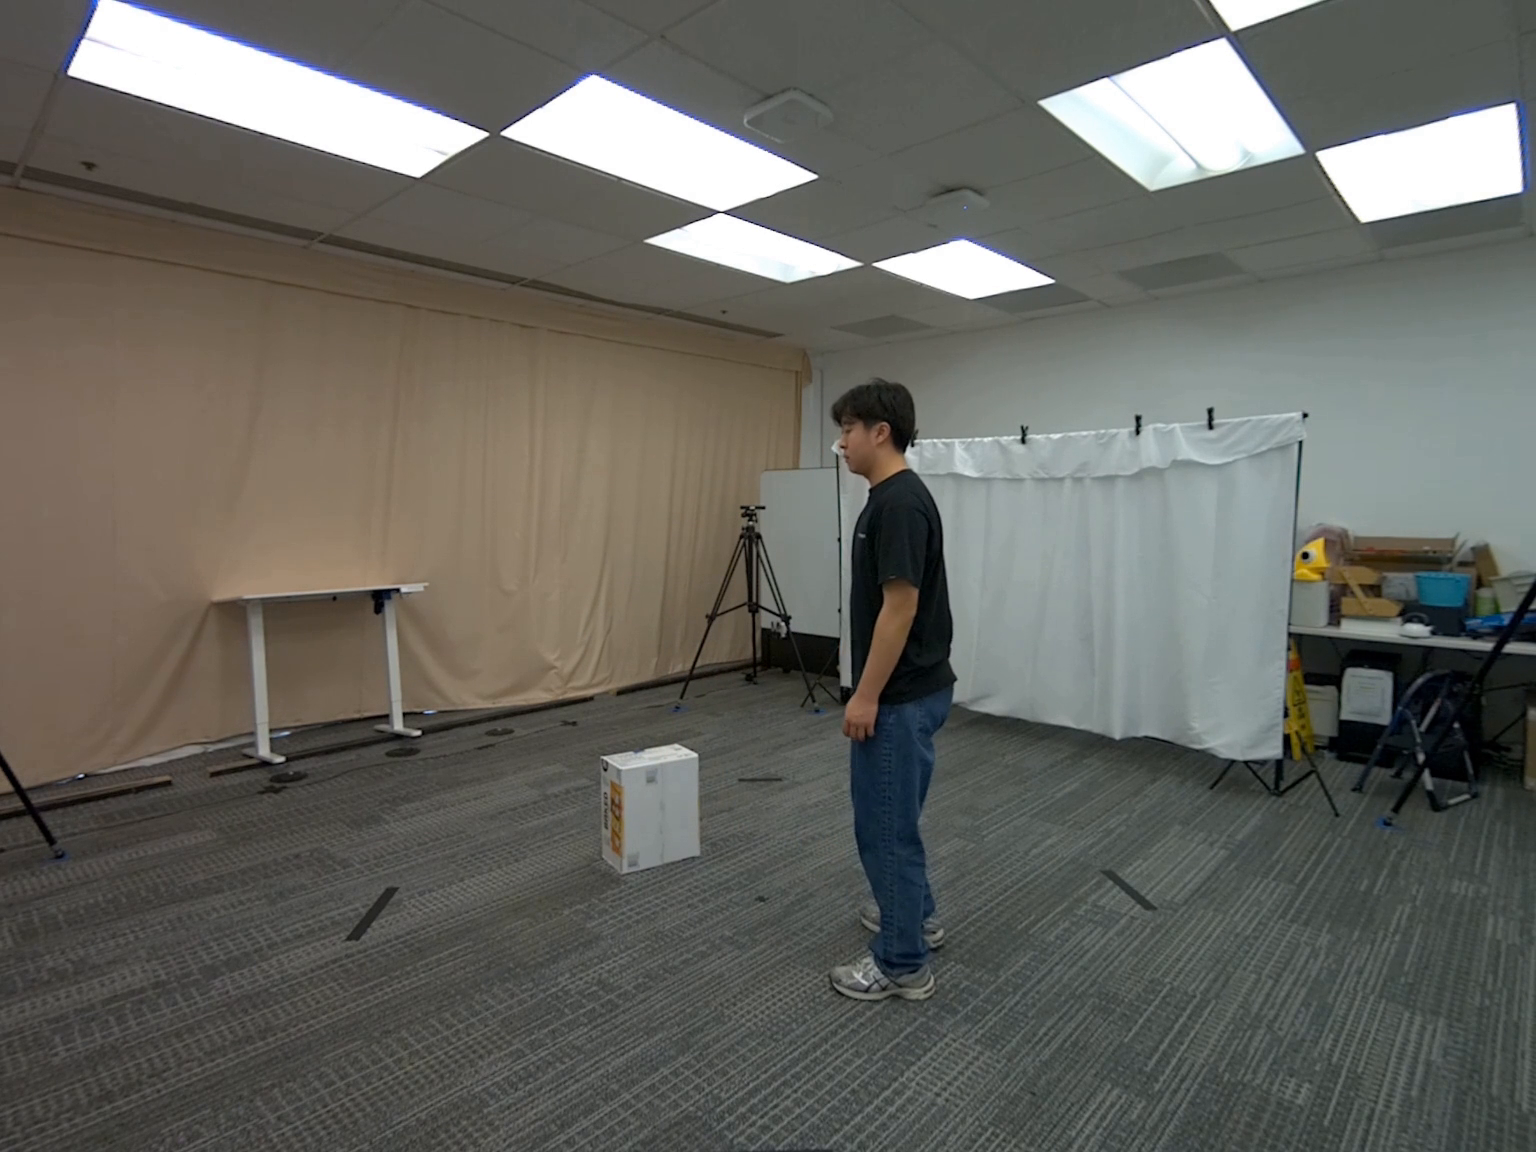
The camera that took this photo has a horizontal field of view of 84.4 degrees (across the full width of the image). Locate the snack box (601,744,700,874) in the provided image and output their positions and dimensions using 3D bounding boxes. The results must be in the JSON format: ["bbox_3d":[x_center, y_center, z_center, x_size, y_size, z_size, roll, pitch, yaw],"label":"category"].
[{"bbox_3d":[-0.466,0.911,3.347,0.331,0.404,0.212,-2,4,-32],"label":"snack box"}]
